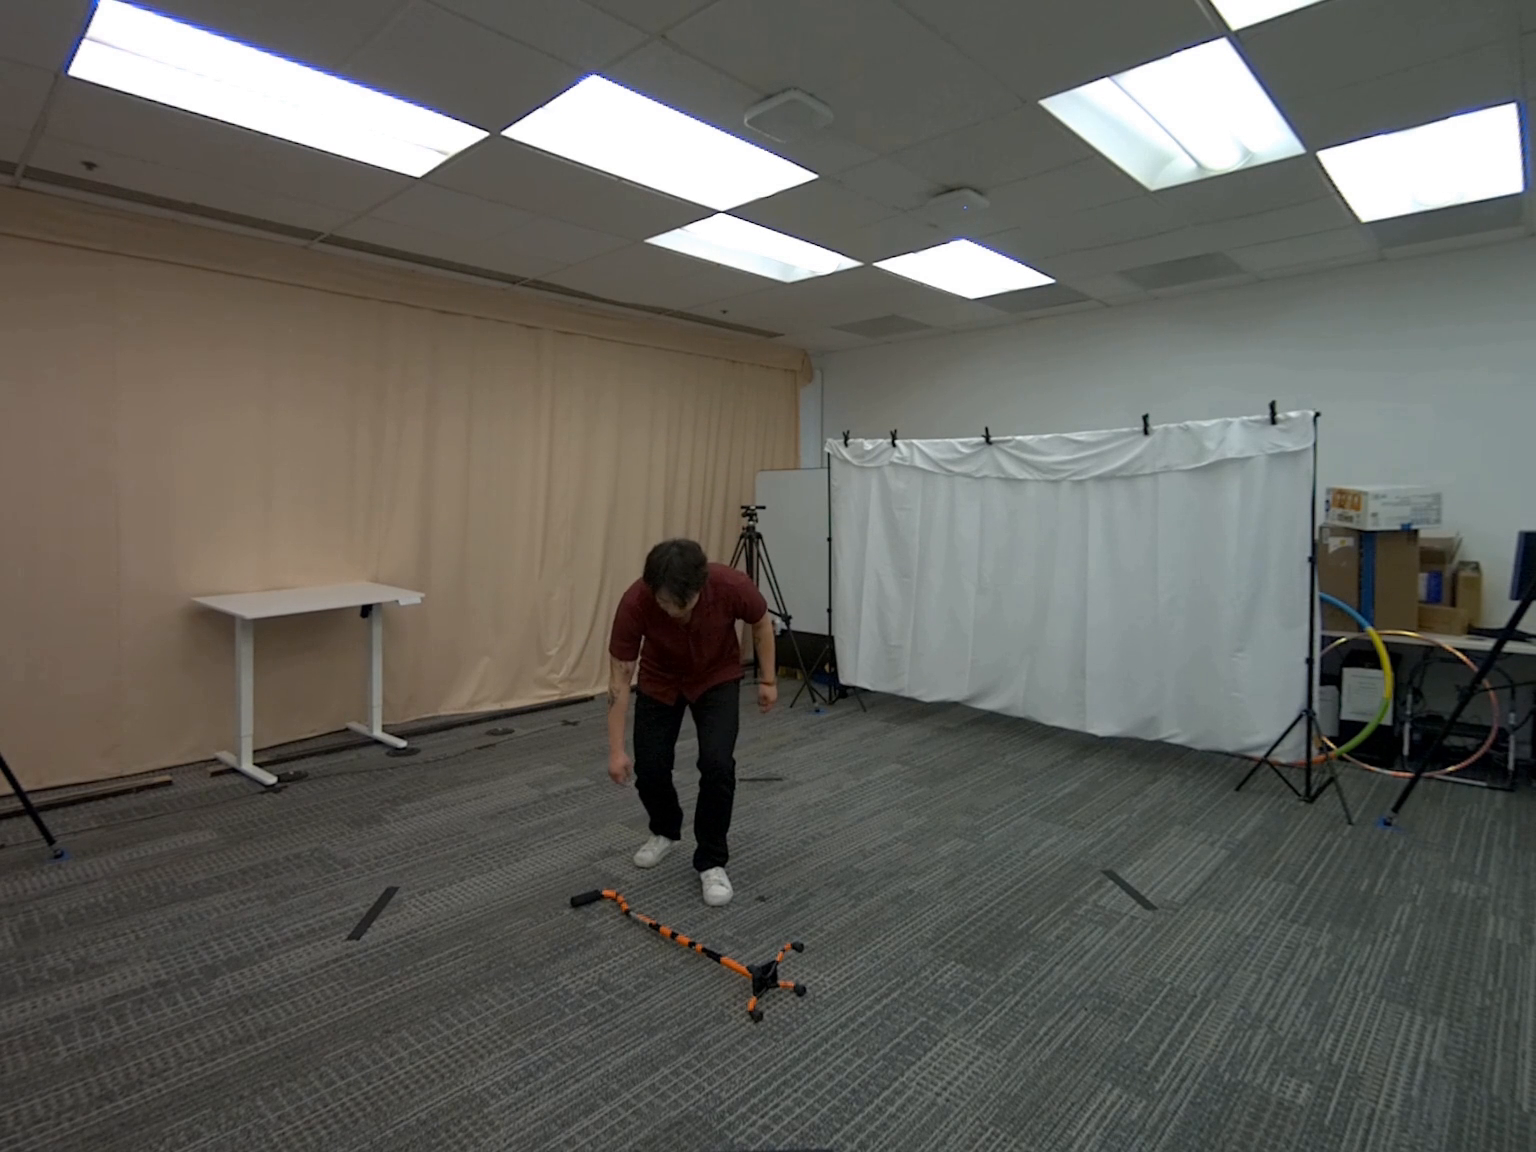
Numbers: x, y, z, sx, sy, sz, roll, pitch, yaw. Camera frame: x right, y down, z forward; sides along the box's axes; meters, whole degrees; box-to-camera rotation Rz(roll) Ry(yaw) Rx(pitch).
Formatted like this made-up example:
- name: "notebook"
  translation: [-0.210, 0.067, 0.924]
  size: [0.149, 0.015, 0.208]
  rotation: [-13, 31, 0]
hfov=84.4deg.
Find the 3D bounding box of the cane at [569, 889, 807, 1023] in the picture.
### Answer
- name: "cane"
  translation: [-0.291, 1.119, 2.655]
  size: [0.937, 0.151, 0.200]
  rotation: [0, 2, 45]
